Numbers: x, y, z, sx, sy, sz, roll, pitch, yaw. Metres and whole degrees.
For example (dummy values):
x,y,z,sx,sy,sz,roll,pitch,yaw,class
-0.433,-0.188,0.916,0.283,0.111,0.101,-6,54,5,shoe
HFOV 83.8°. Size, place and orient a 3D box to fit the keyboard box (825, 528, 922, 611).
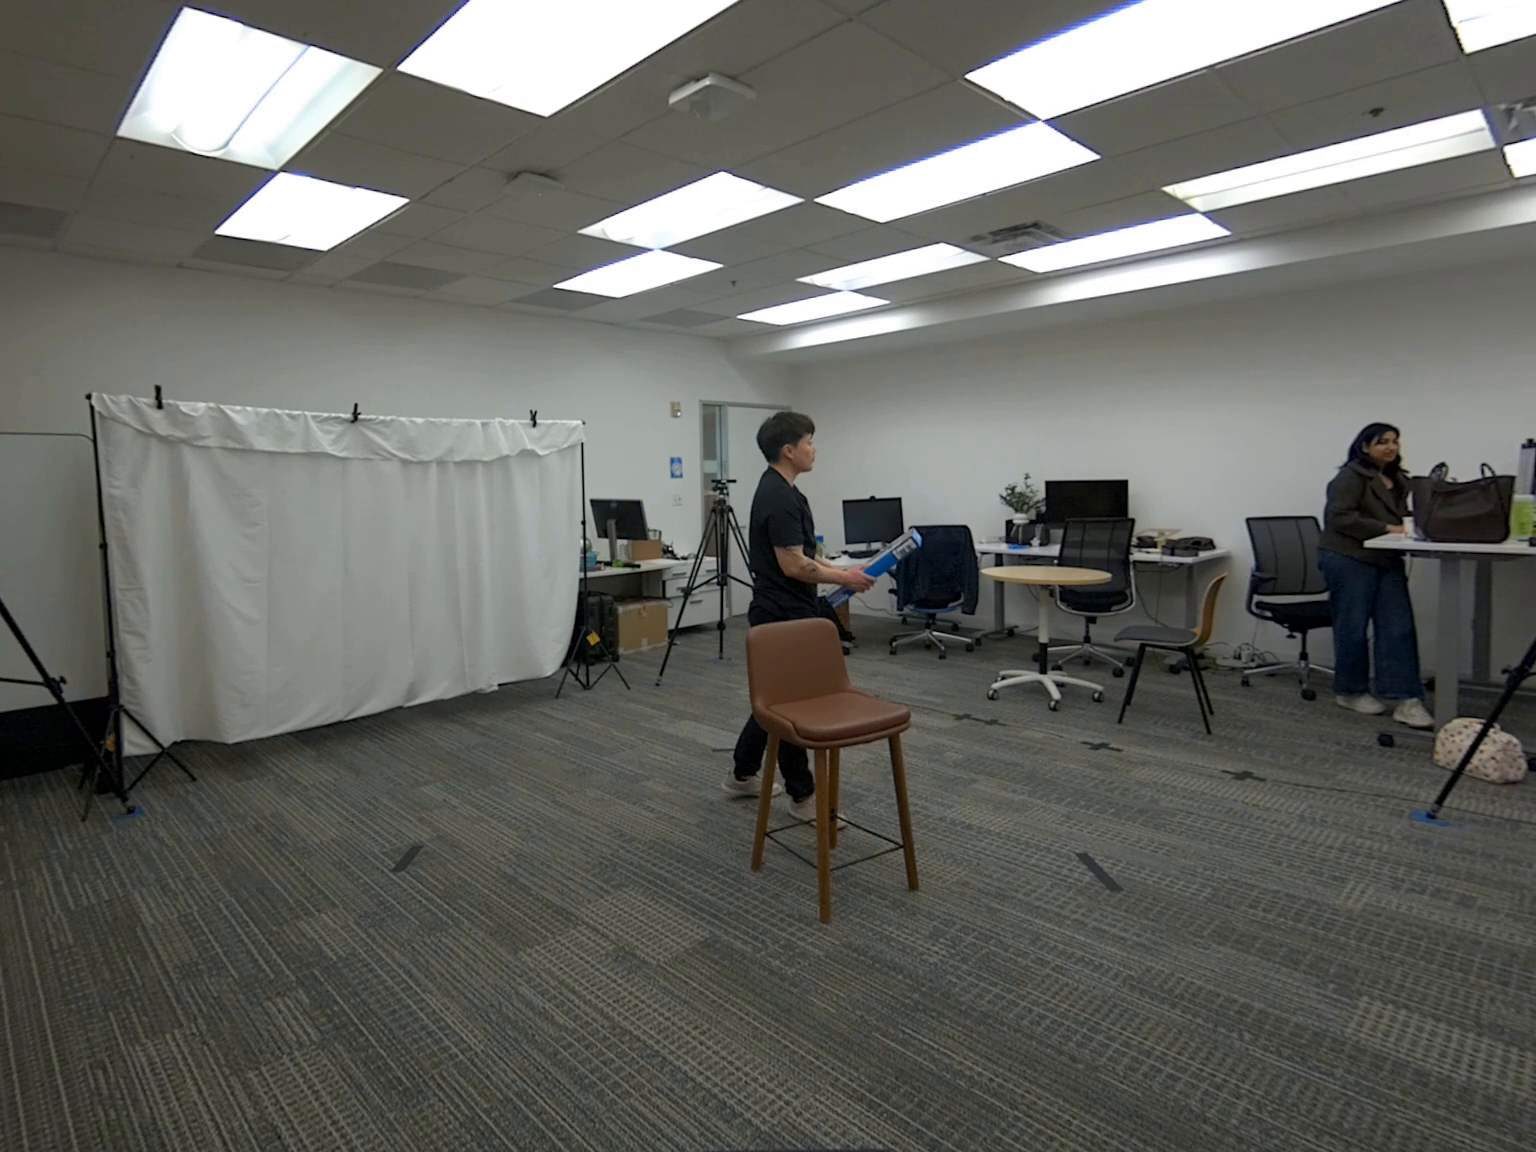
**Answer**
x,y,z,sx,sy,sz,roll,pitch,yaw,class
0.427,-0.026,3.497,0.438,0.059,0.176,-38,4,18,keyboard box
